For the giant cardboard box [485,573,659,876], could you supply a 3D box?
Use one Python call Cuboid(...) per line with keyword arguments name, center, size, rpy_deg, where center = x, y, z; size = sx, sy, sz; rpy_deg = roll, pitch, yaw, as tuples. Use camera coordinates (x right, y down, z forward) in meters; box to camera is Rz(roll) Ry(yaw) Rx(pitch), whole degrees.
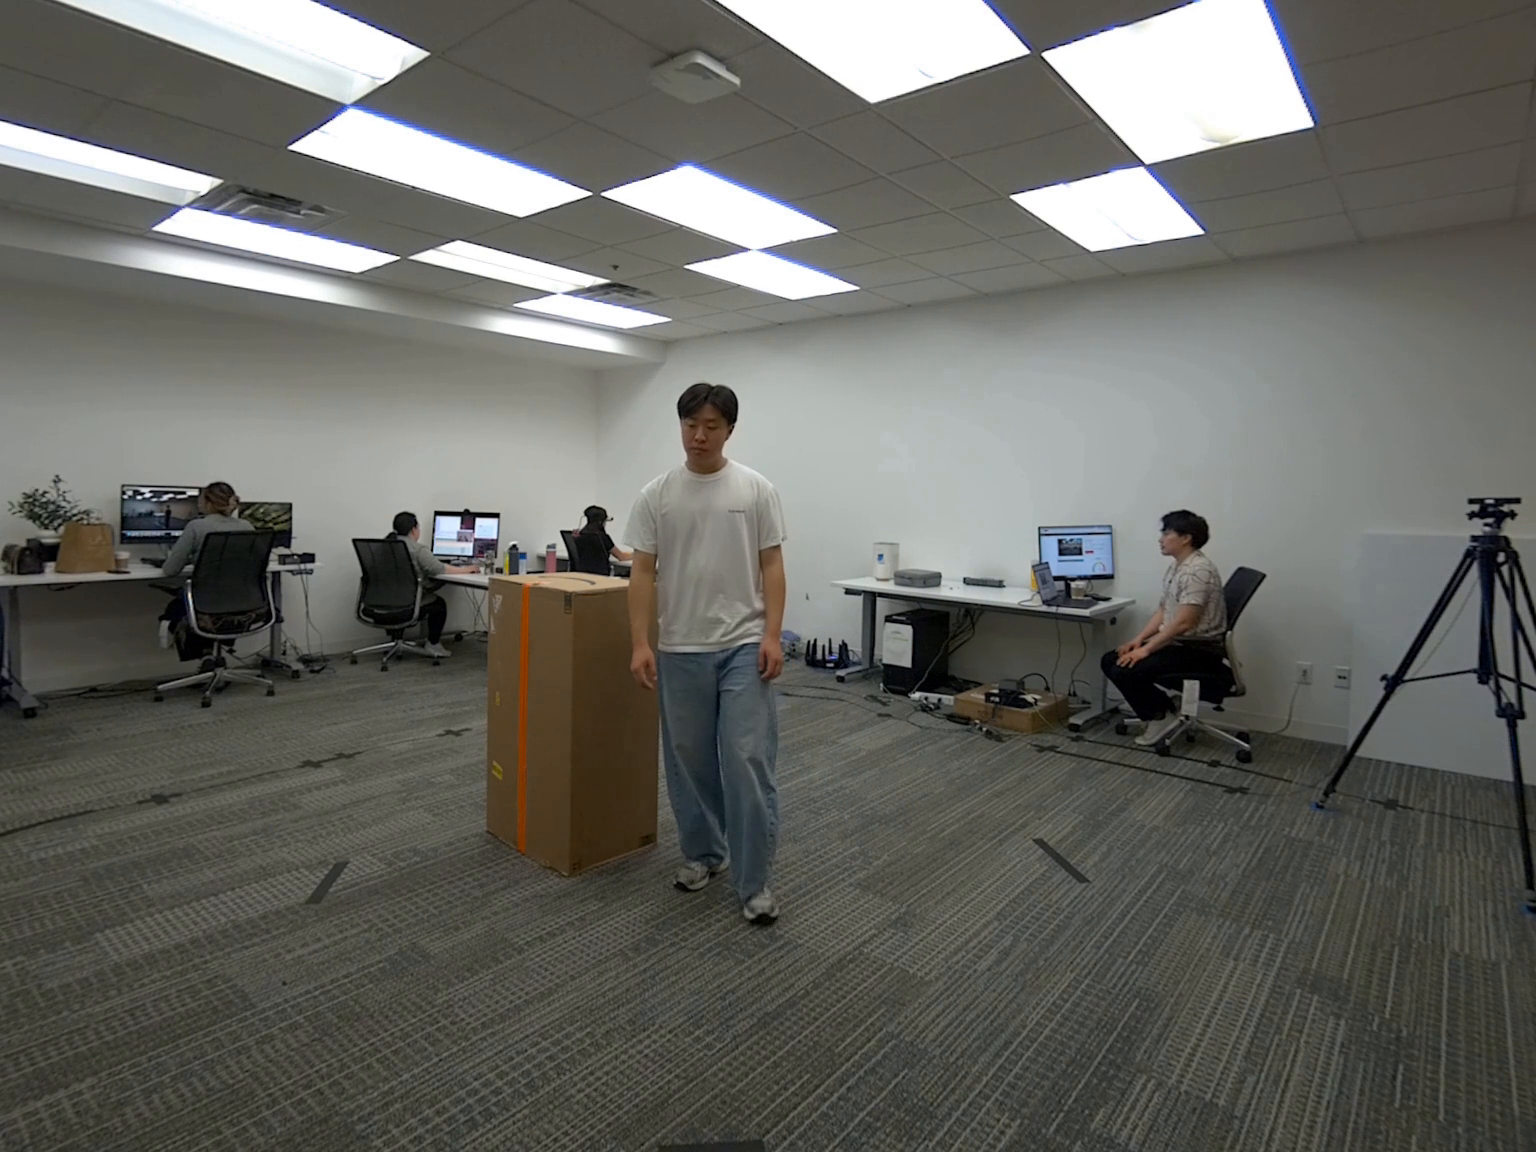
Cuboid(name="giant cardboard box", center=(-0.785, 0.526, 3.334), size=(0.597, 1.023, 0.413), rpy_deg=(5, 4, 44))
